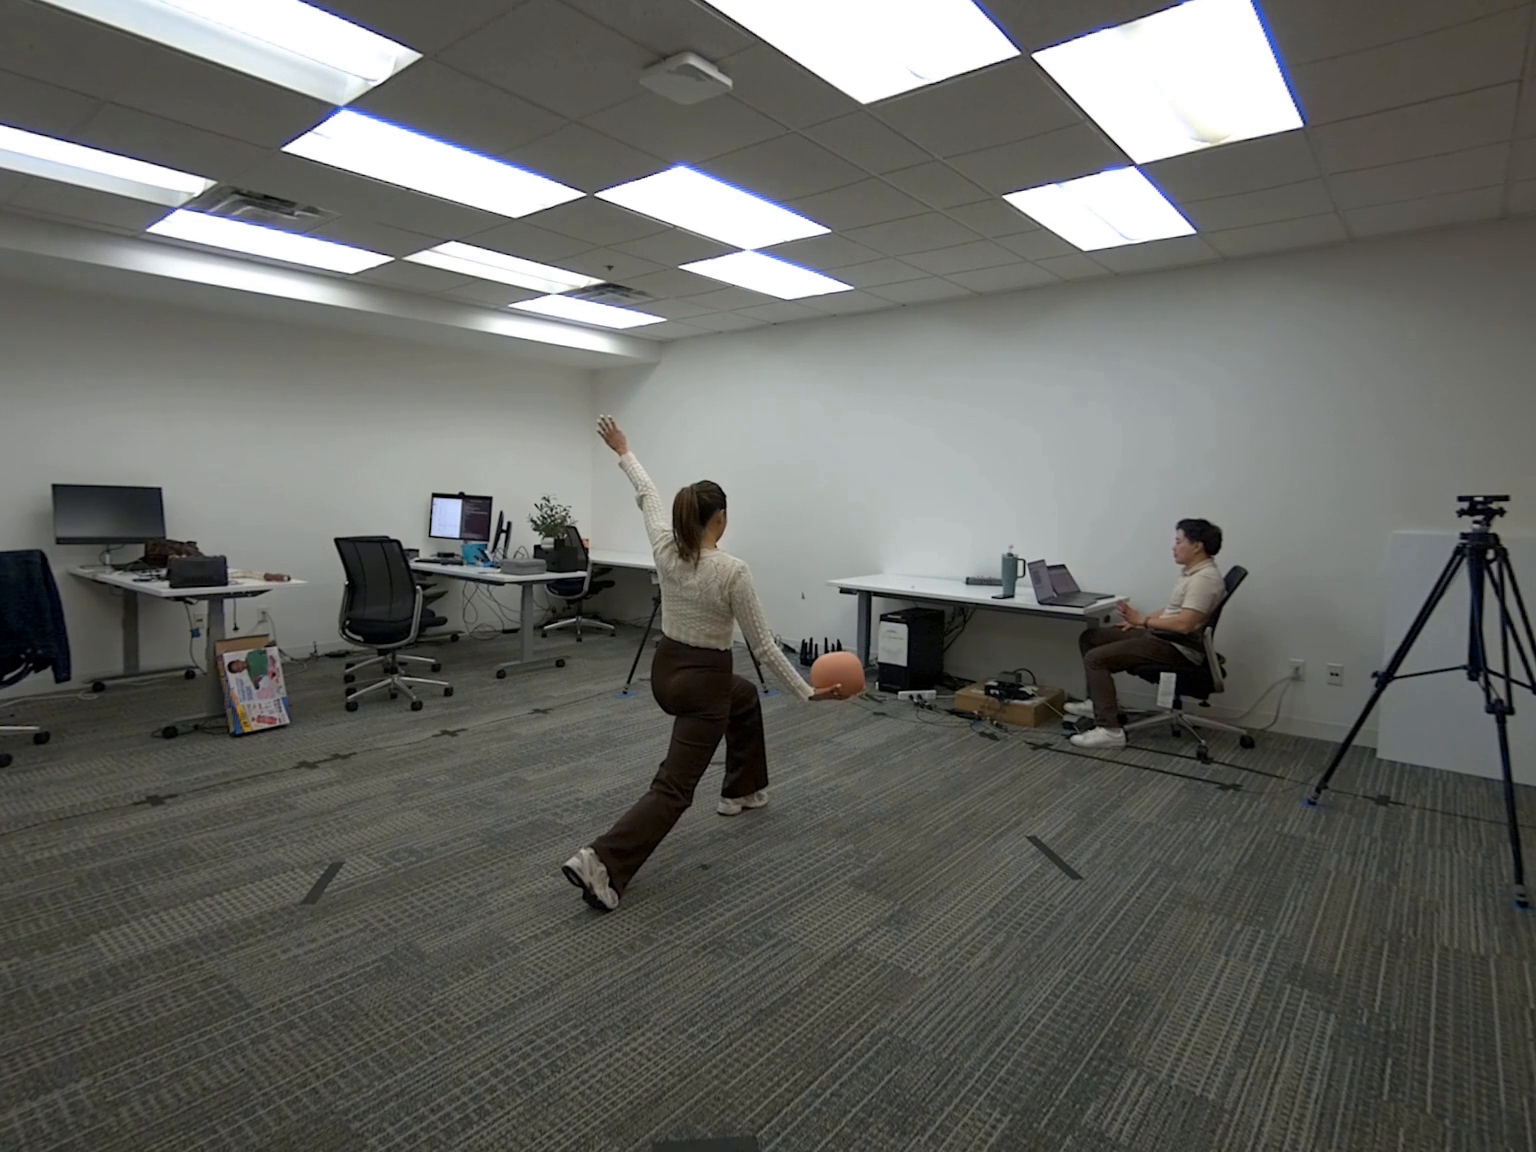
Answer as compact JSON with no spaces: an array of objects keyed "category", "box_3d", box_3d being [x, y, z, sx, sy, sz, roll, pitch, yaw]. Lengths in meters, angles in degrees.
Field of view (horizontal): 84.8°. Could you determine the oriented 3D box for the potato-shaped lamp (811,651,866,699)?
[{"category":"potato-shaped lamp","box_3d":[0.254,0.381,3.266,0.197,0.173,0.164,-9,-8,-8]}]
